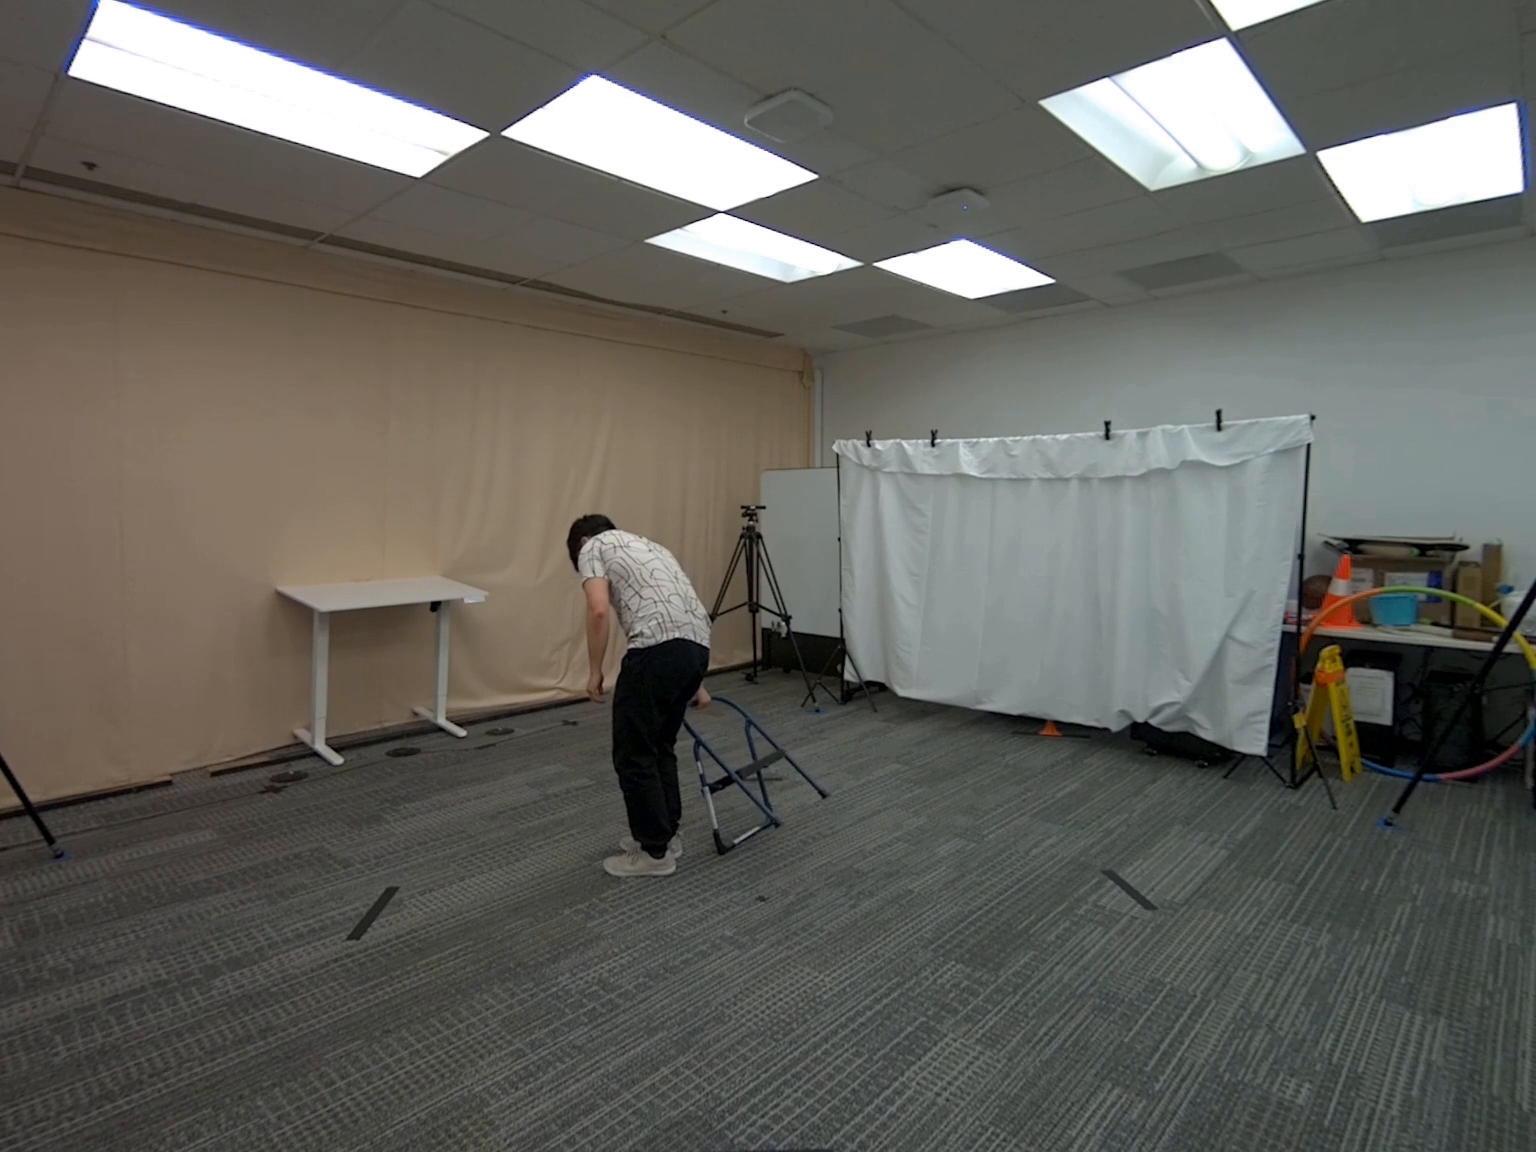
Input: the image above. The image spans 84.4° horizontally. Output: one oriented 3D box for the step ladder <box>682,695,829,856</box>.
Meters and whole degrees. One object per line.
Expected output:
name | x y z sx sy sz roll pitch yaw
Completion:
step ladder | -0.101 0.762 3.527 0.353 0.616 0.418 -36 -17 28
